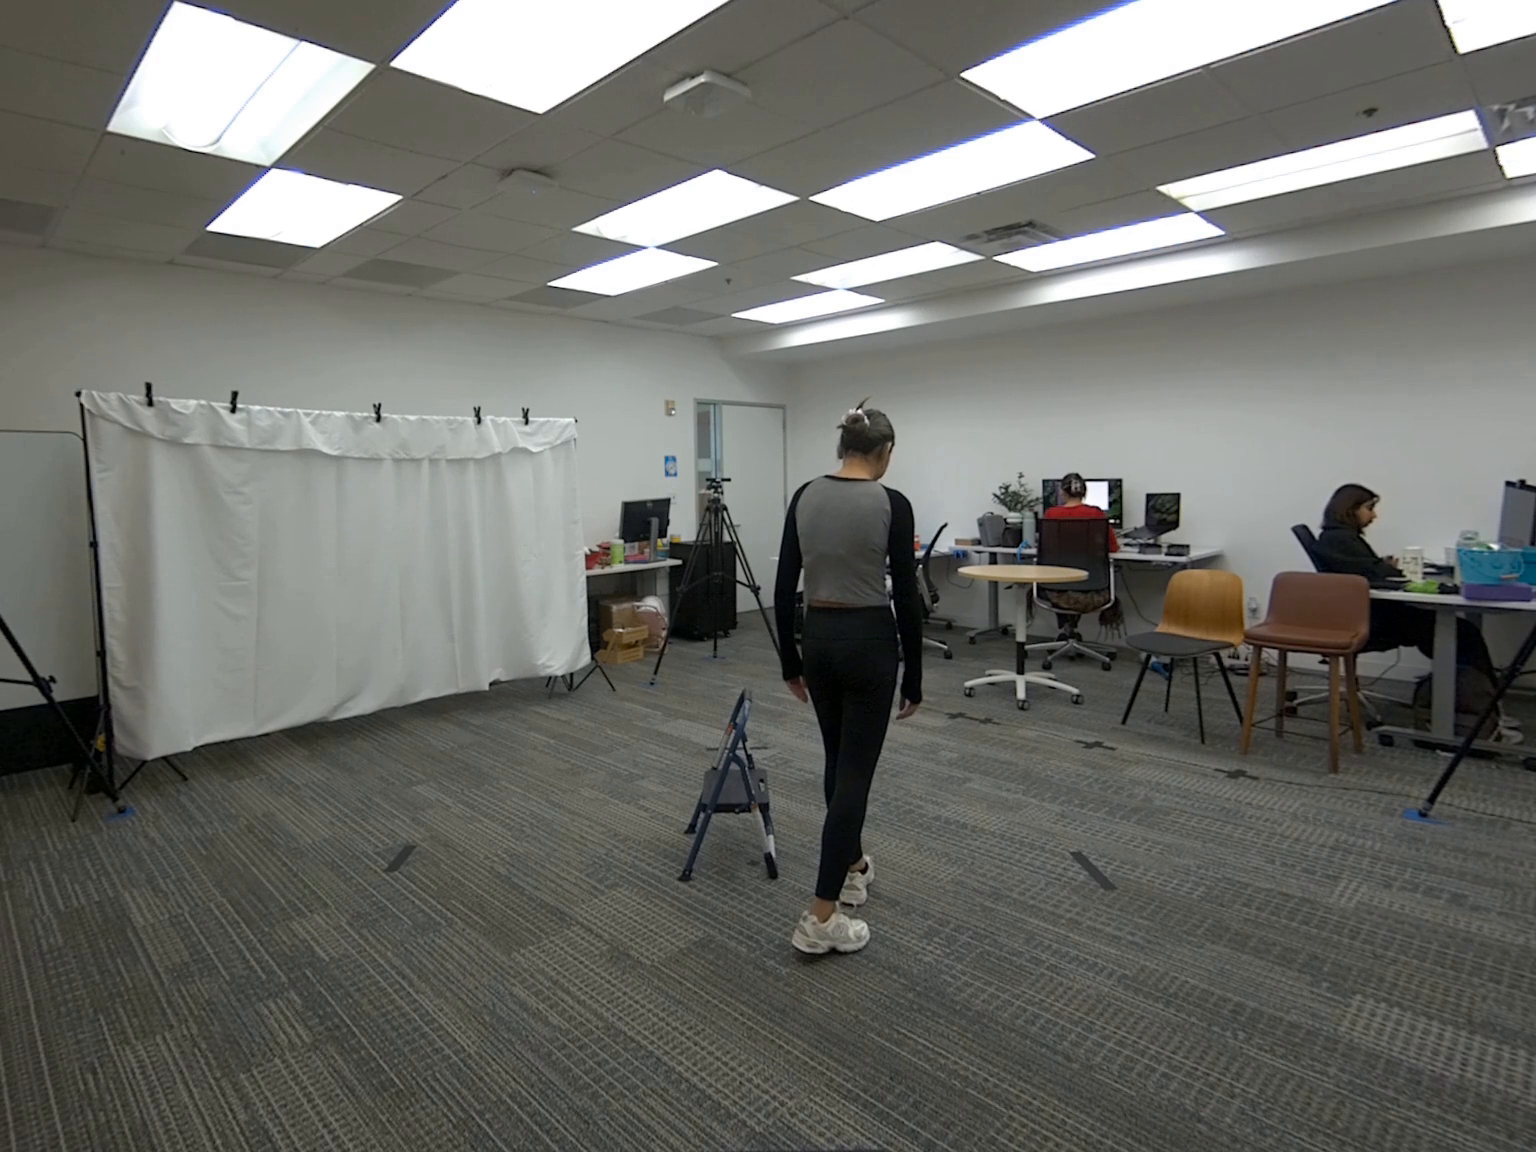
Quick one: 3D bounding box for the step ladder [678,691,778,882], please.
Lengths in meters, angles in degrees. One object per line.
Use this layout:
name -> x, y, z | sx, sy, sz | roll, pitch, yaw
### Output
step ladder -> -0.147, 0.738, 3.161 | 0.349, 0.604, 0.432 | -1, 4, -1
